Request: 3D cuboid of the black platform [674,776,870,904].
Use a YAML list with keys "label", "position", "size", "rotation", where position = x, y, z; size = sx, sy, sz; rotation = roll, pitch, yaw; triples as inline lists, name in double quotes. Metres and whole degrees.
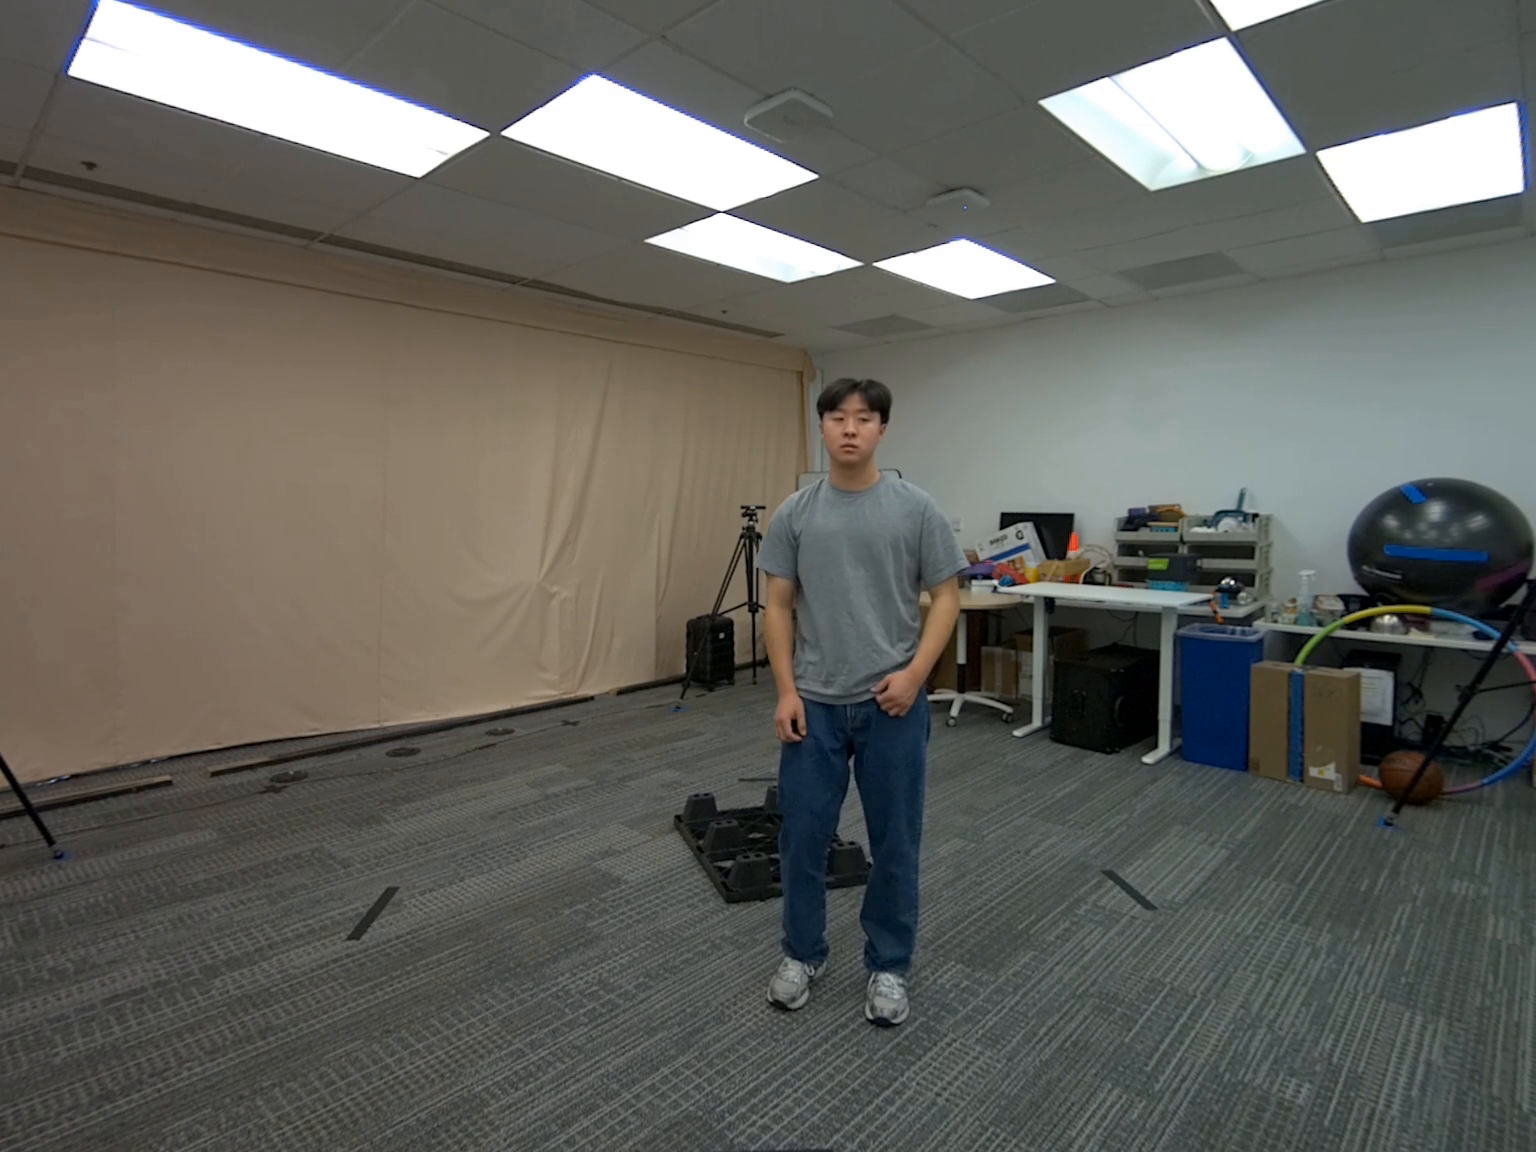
- label: "black platform"
  position: [0.007, 1.041, 3.392]
  size: [0.594, 0.143, 0.823]
  rotation: [-2, 5, -19]
